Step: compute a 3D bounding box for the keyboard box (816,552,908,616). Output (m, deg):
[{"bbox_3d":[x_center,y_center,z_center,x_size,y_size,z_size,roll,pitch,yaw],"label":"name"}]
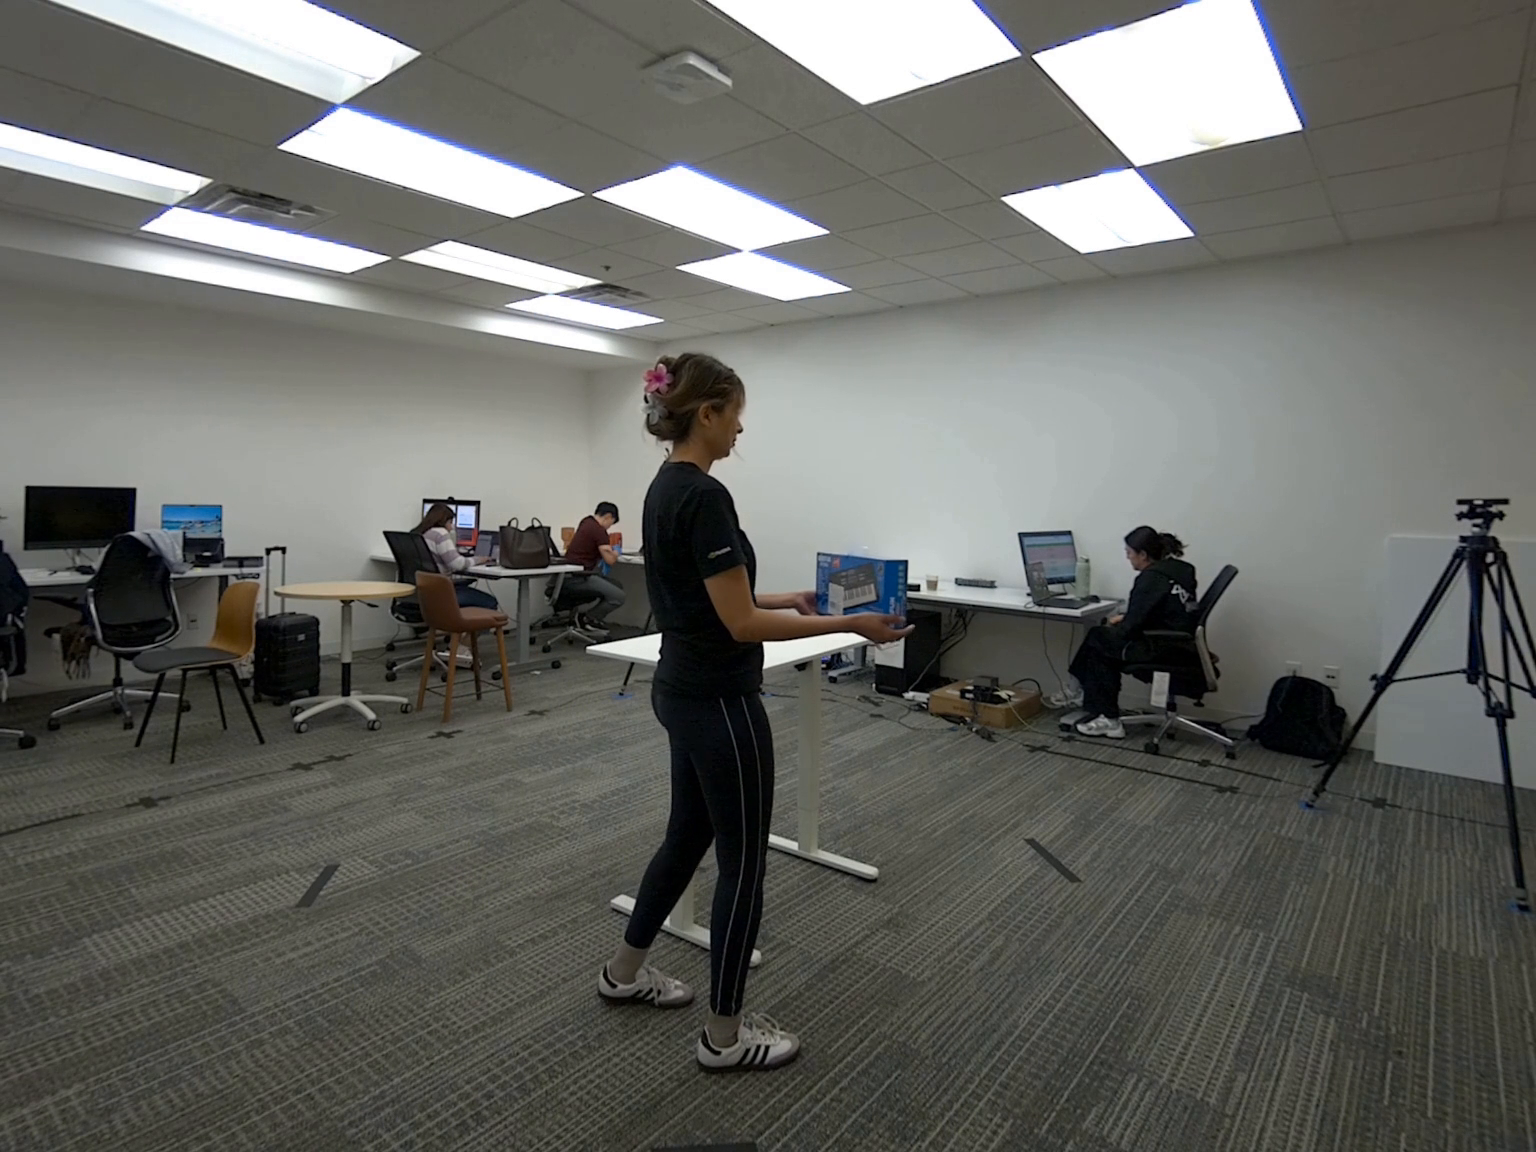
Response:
[{"bbox_3d":[0.222,0.035,2.160,0.058,0.176,0.445,3,2,-18],"label":"keyboard box"}]
